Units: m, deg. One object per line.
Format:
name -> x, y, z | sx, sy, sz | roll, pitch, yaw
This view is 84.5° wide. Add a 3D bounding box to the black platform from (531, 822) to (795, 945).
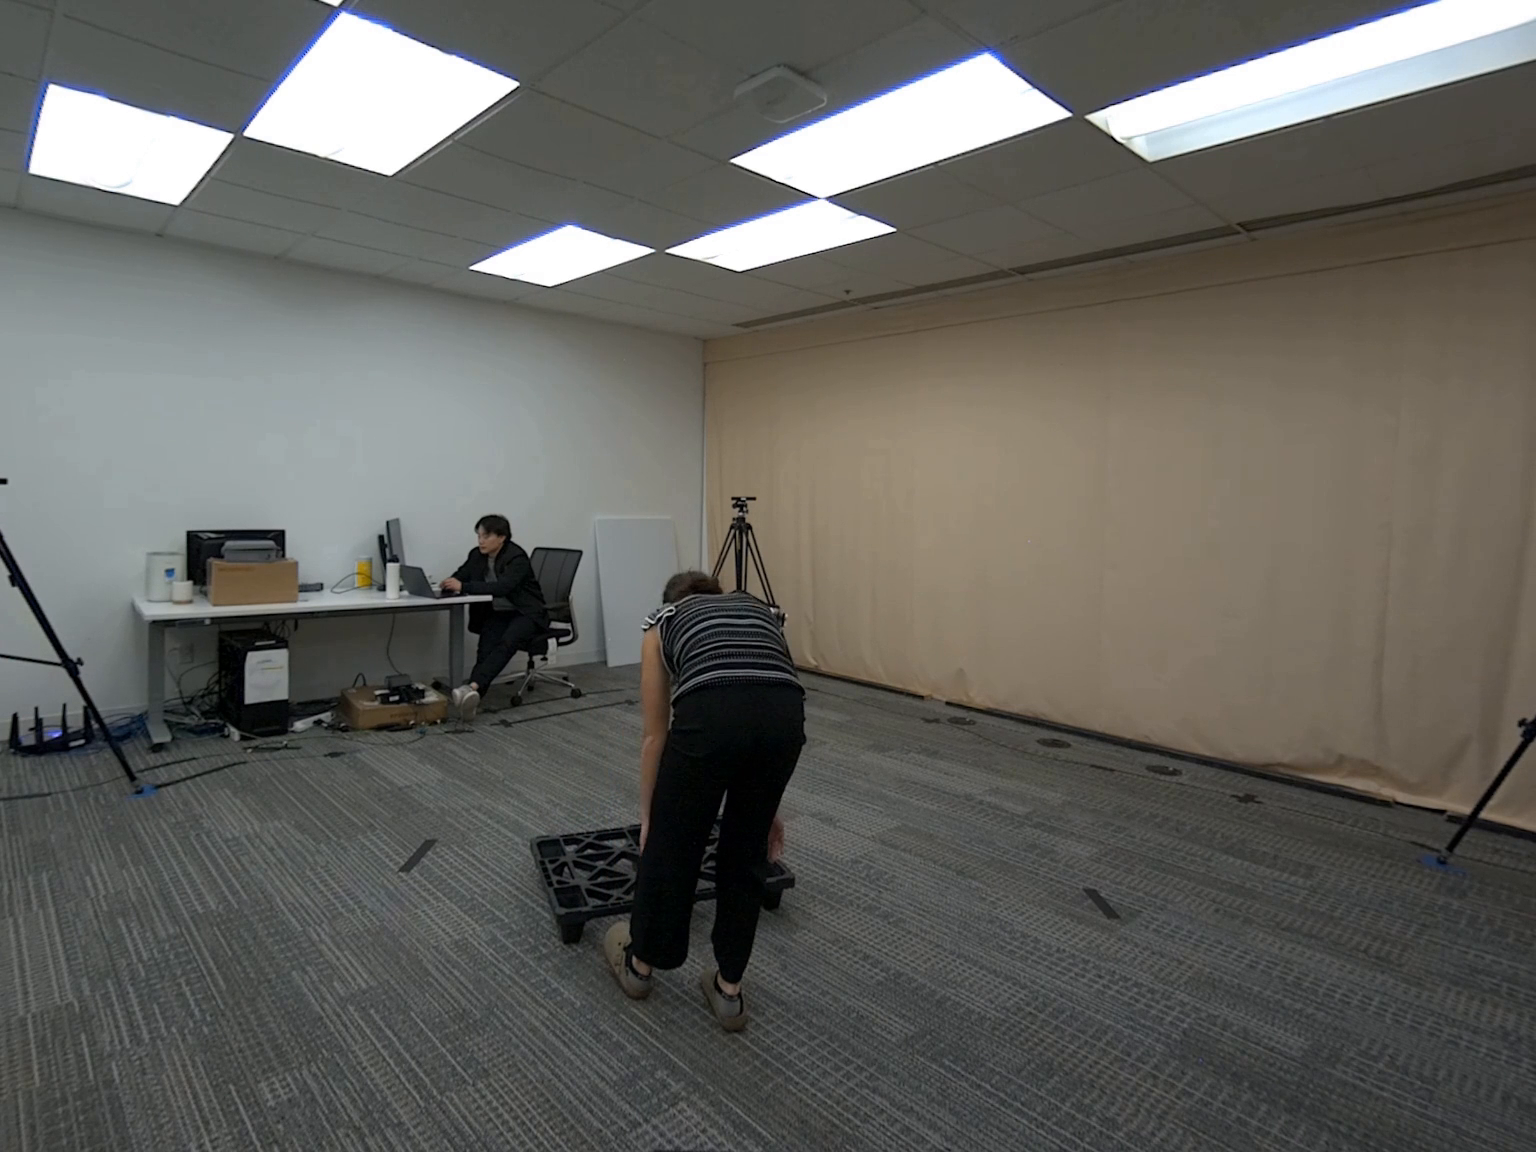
black platform -> -0.399, 1.049, 2.946 | 0.792, 0.143, 0.616 | -1, 5, -22
